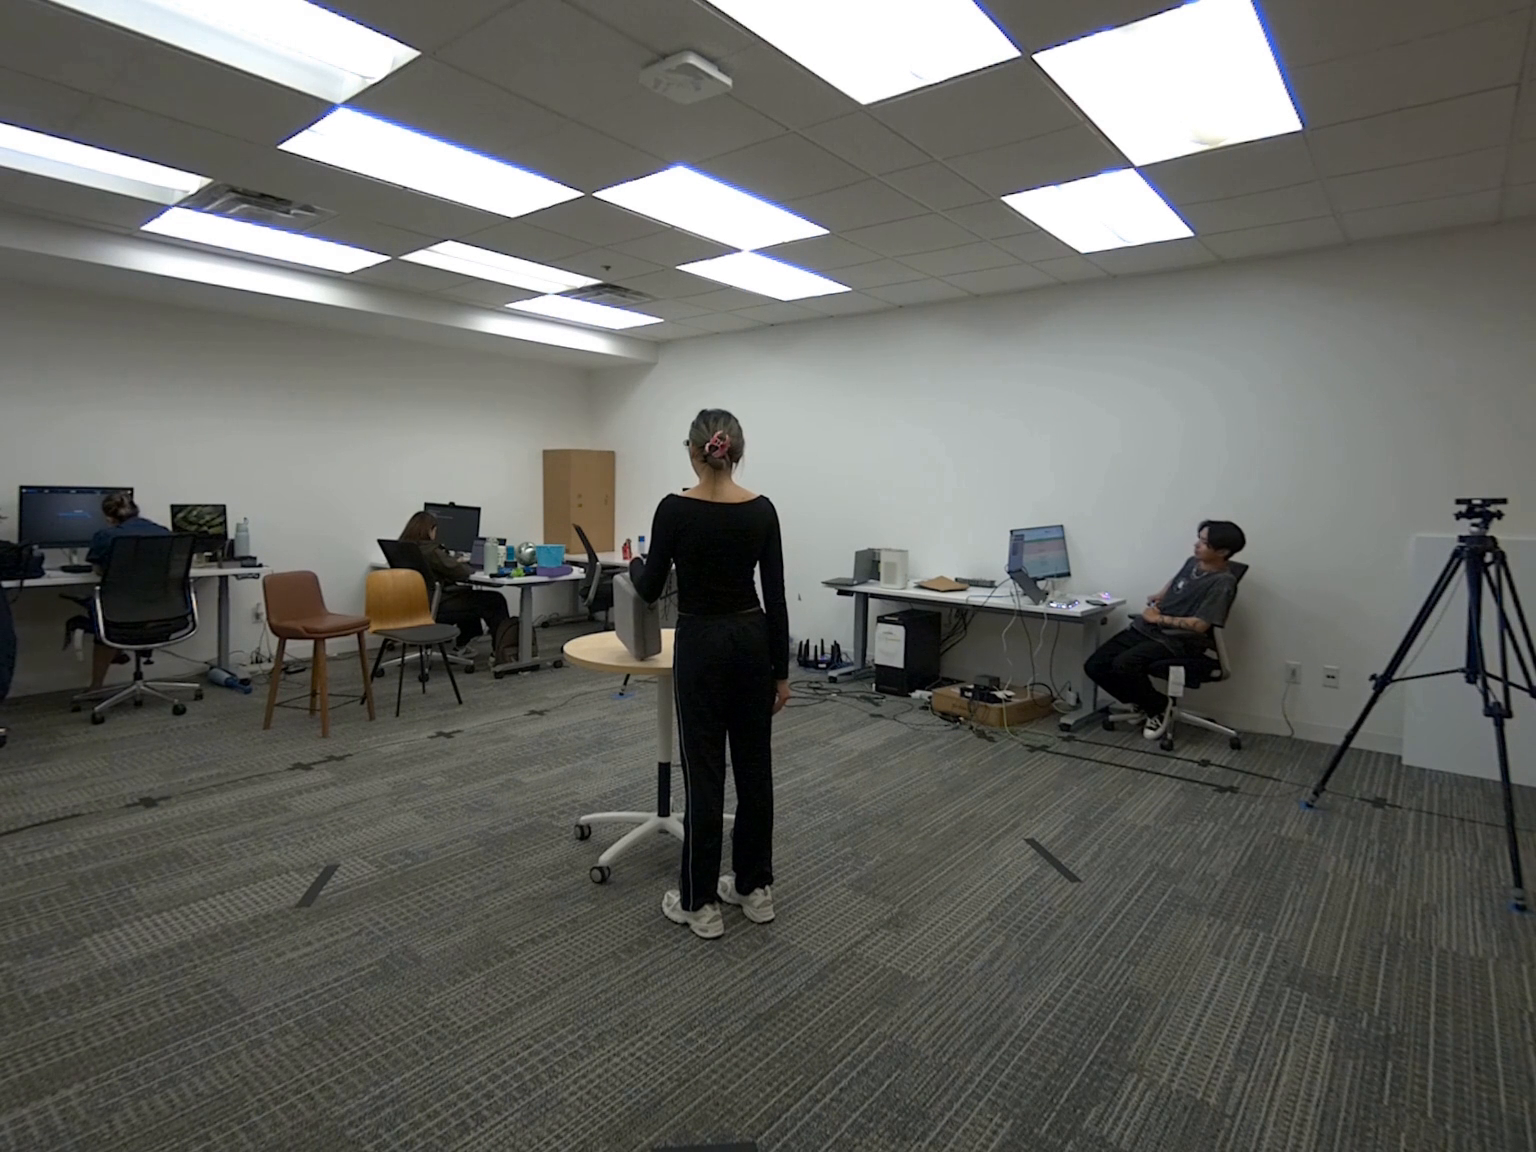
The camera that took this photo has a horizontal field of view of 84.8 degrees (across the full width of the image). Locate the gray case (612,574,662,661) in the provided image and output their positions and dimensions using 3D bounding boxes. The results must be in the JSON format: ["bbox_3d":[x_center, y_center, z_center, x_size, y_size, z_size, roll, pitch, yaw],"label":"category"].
[{"bbox_3d":[-0.477,0.129,3.016,0.102,0.257,0.266,-7,18,-24],"label":"gray case"}]
